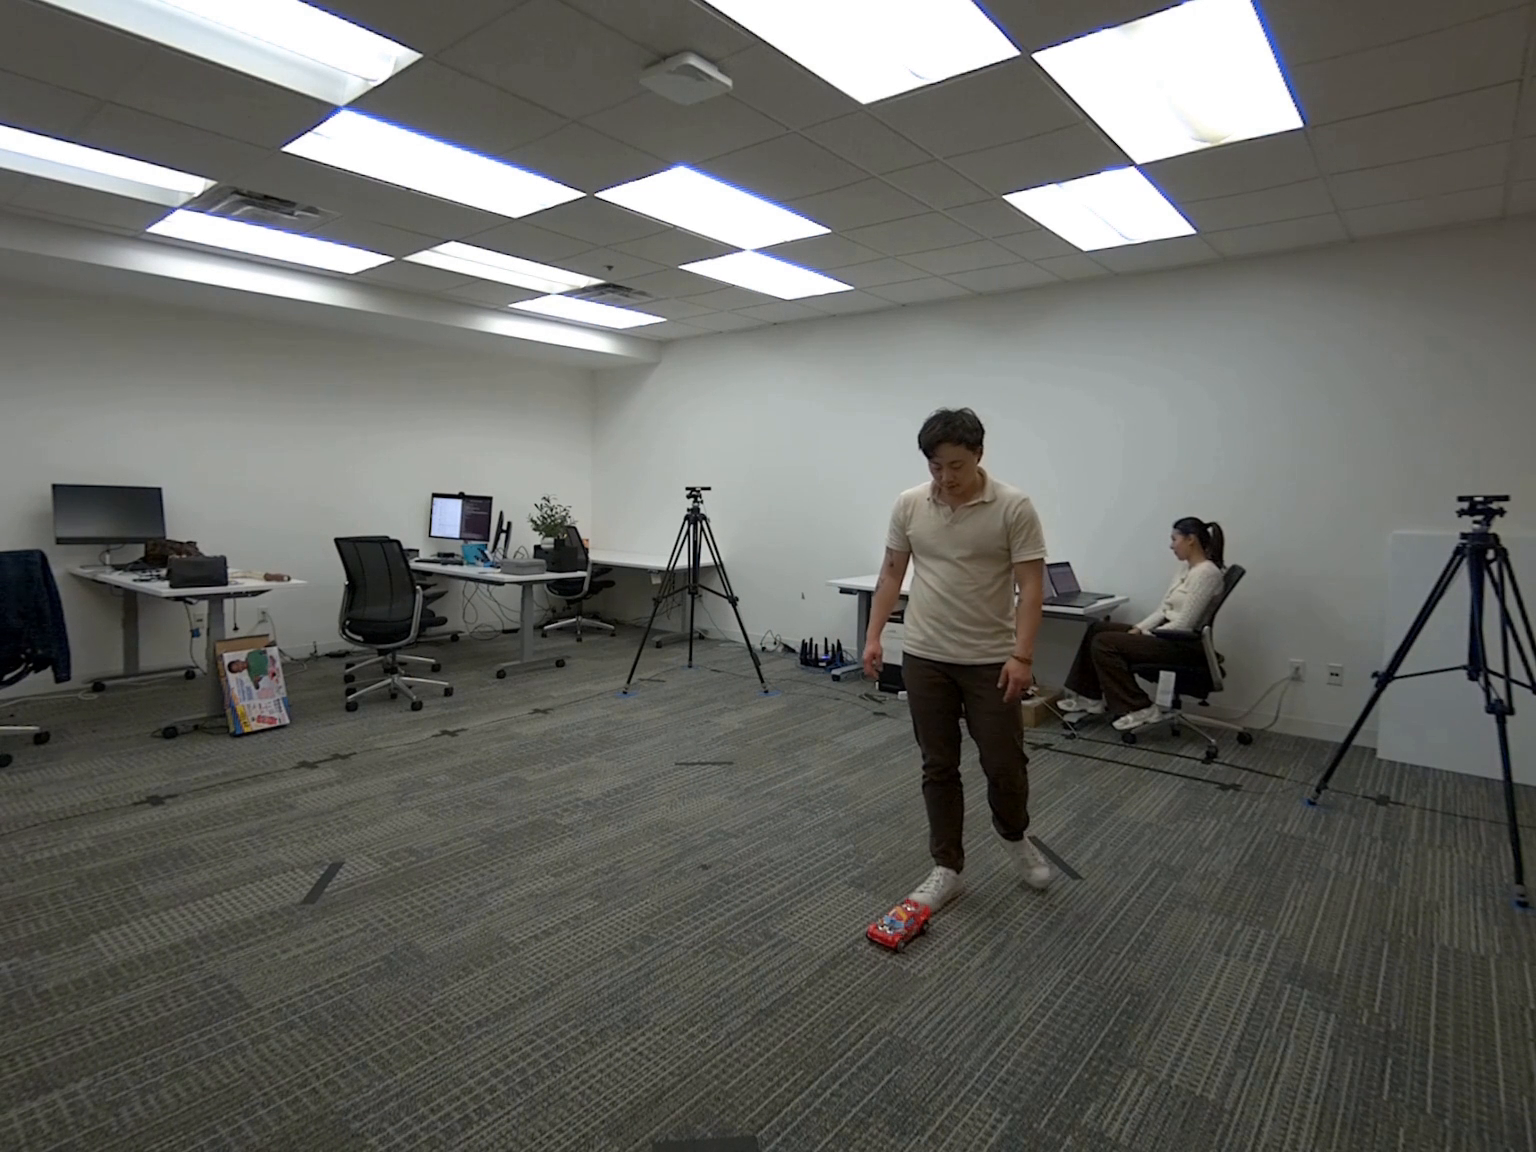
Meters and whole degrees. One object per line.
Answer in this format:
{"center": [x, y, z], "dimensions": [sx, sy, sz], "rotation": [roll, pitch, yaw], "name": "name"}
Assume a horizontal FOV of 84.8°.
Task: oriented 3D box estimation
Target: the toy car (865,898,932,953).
{"center": [0.415, 1.092, 2.668], "dimensions": [0.135, 0.082, 0.249], "rotation": [5, 18, 40], "name": "toy car"}
